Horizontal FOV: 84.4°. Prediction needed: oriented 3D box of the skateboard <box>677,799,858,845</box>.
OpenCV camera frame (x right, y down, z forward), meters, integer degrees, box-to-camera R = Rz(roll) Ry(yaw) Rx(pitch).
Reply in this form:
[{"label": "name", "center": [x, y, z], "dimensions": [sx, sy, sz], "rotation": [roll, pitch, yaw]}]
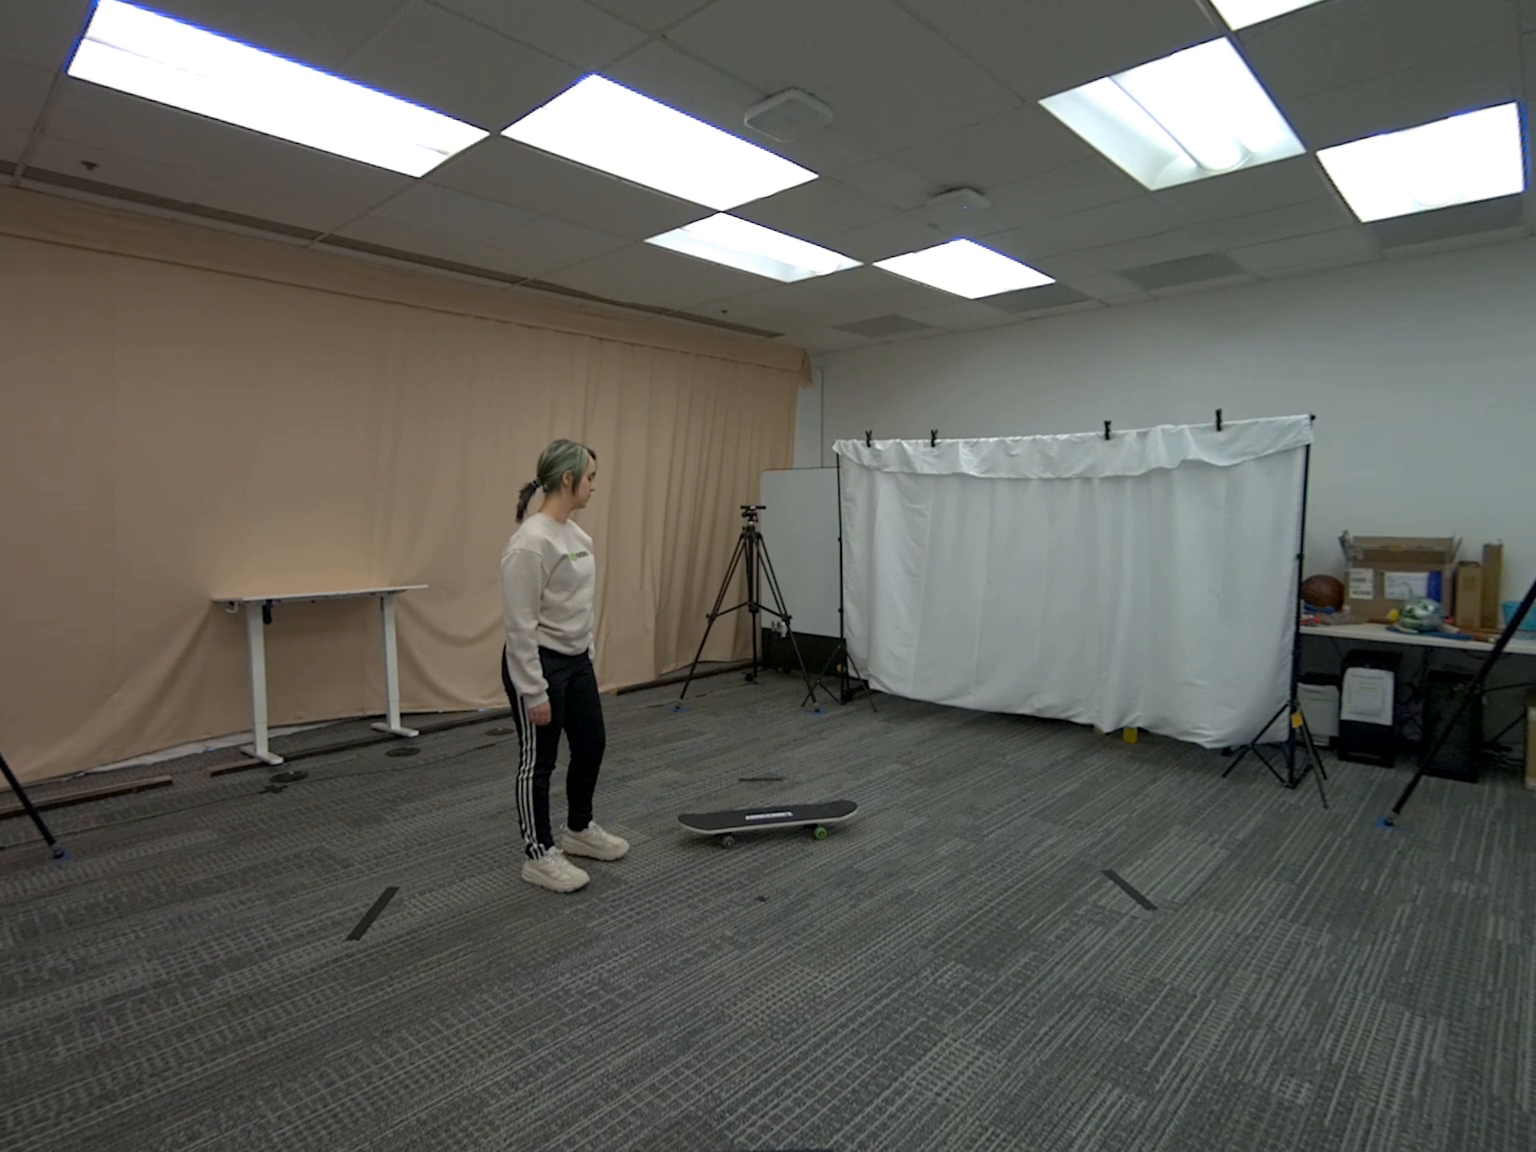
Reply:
[{"label": "skateboard", "center": [0.005, 1.042, 3.542], "dimensions": [0.774, 0.110, 0.197], "rotation": [-1, 5, -14]}]
